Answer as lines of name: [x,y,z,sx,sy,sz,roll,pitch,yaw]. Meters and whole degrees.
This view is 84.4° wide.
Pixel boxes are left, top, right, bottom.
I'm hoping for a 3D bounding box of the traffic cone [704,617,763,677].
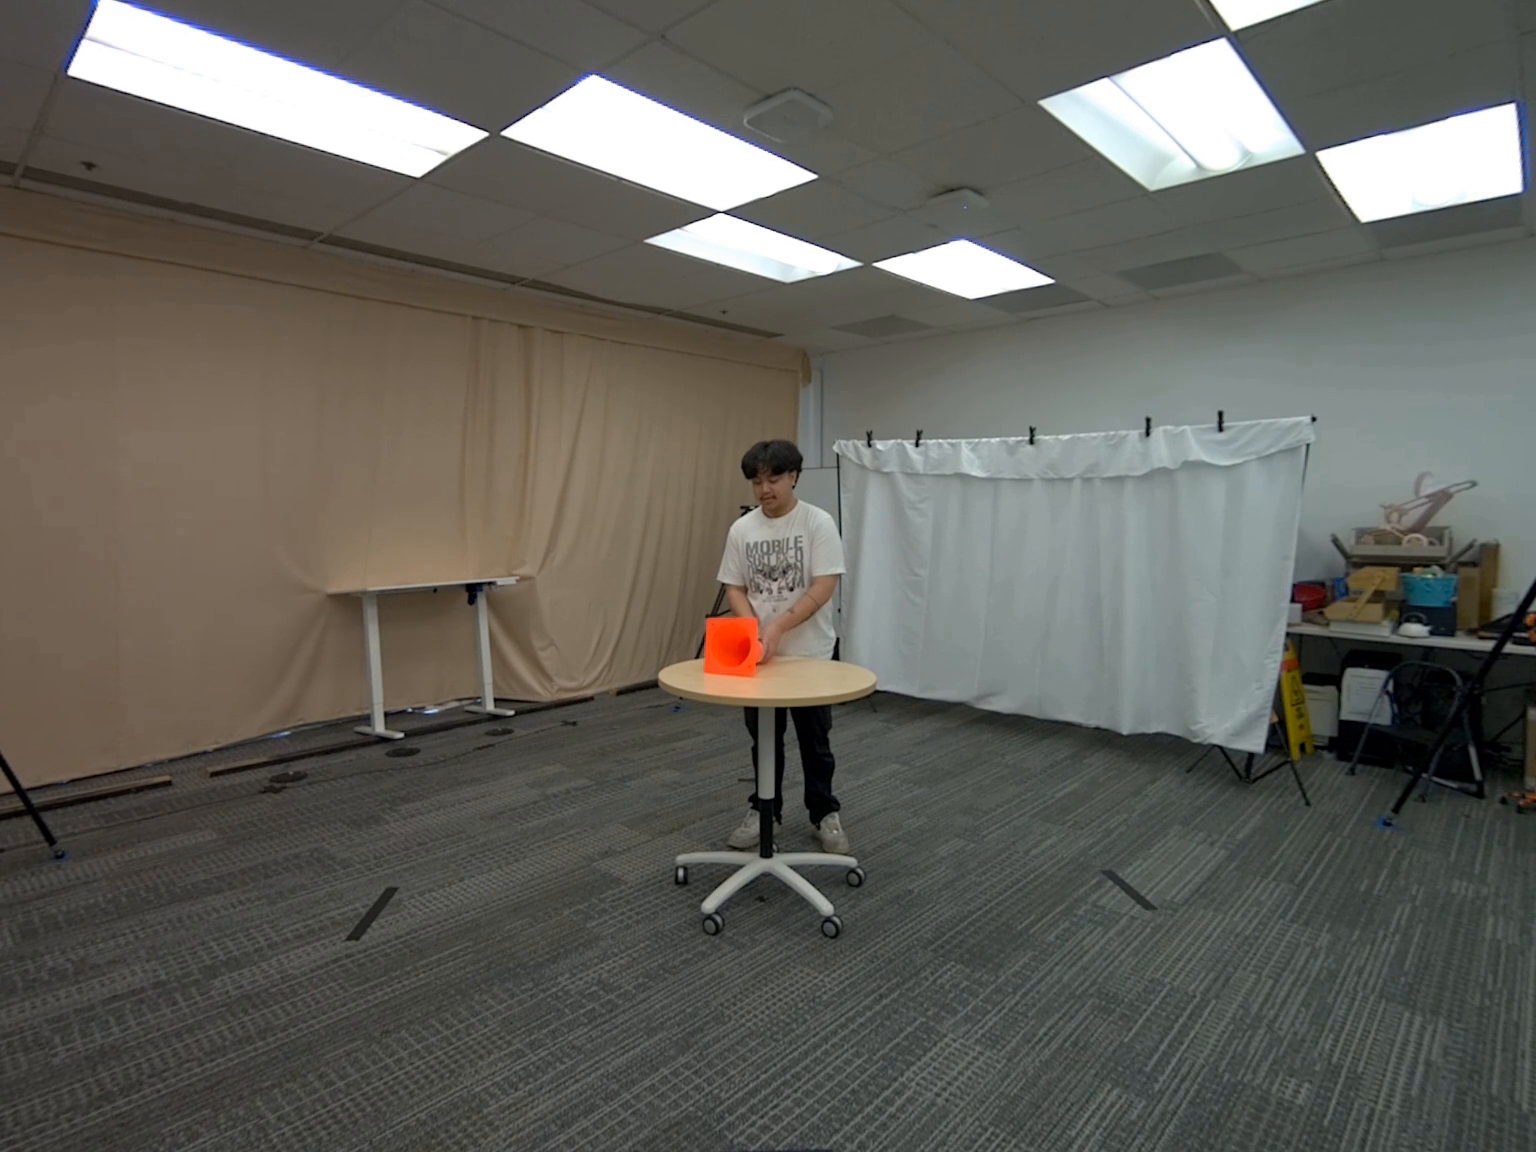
traffic cone: [-0.061,0.276,3.143,0.209,0.205,0.373,-5,-11,22]
